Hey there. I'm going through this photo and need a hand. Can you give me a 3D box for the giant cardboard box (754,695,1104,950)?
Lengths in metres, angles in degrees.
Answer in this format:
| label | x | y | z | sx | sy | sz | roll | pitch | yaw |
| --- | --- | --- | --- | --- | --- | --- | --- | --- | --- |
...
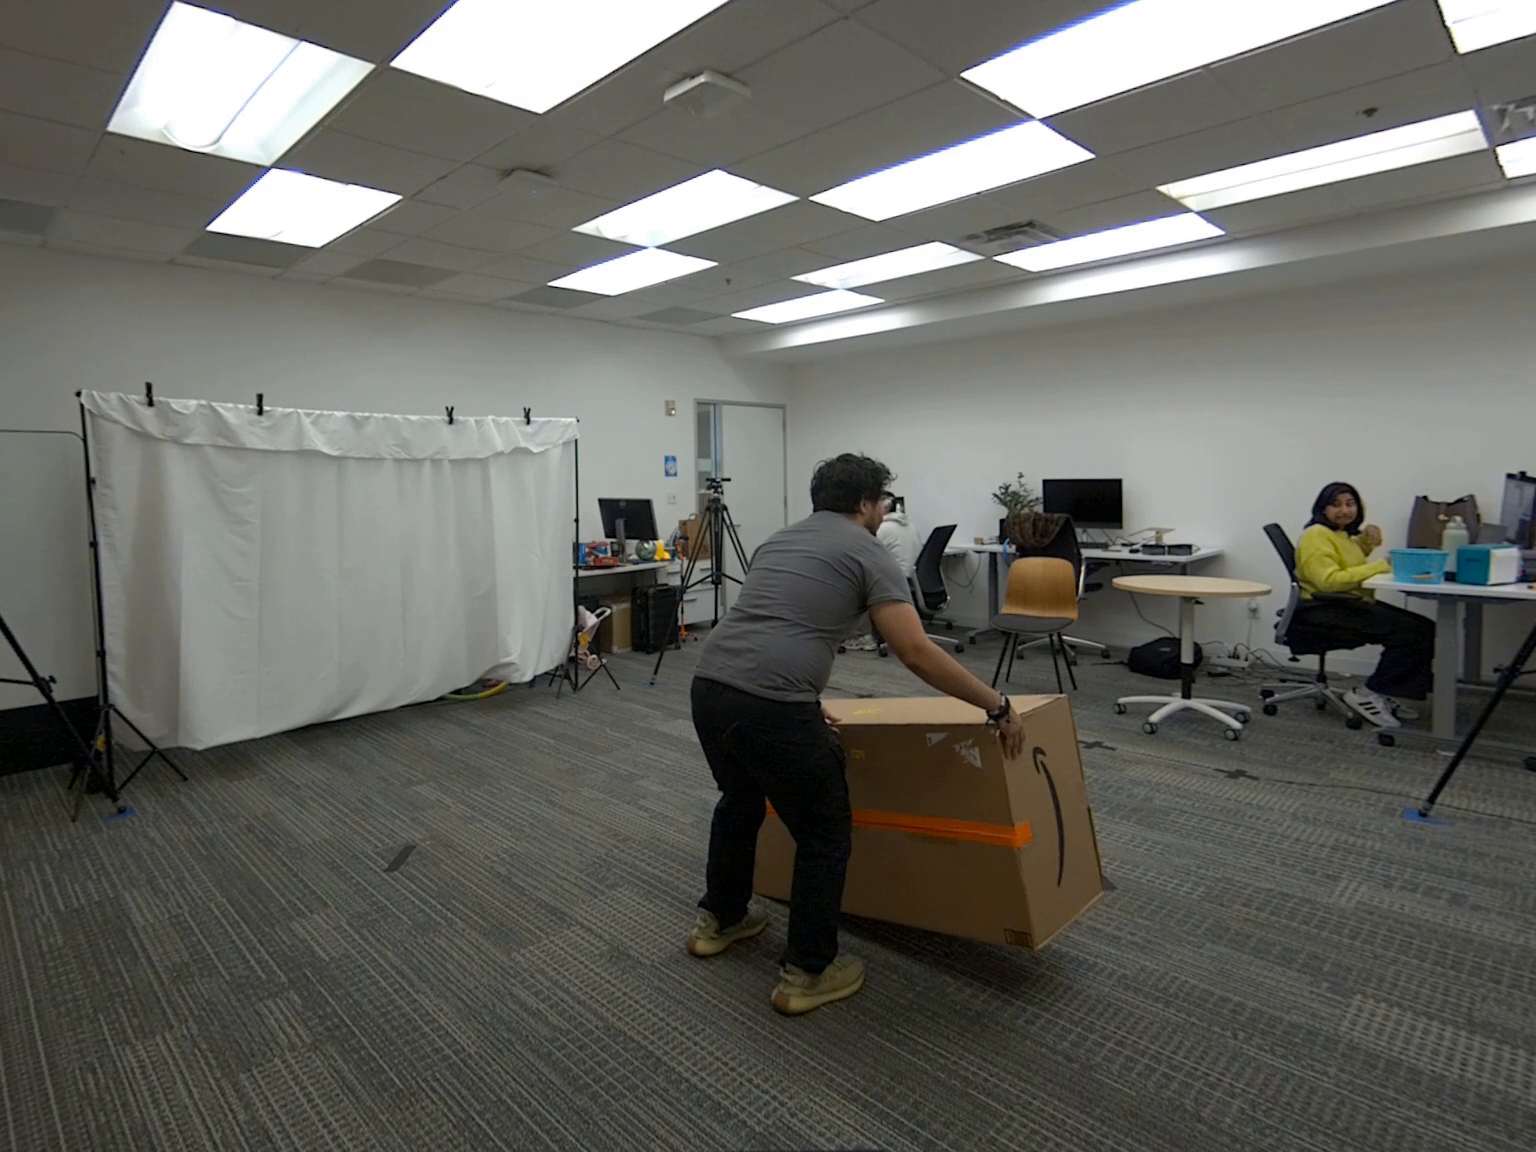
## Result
| label | x | y | z | sx | sy | sz | roll | pitch | yaw |
| --- | --- | --- | --- | --- | --- | --- | --- | --- | --- |
| giant cardboard box | 0.417 | 0.710 | 2.689 | 0.415 | 0.580 | 1.049 | -6 | -3 | -45 |
